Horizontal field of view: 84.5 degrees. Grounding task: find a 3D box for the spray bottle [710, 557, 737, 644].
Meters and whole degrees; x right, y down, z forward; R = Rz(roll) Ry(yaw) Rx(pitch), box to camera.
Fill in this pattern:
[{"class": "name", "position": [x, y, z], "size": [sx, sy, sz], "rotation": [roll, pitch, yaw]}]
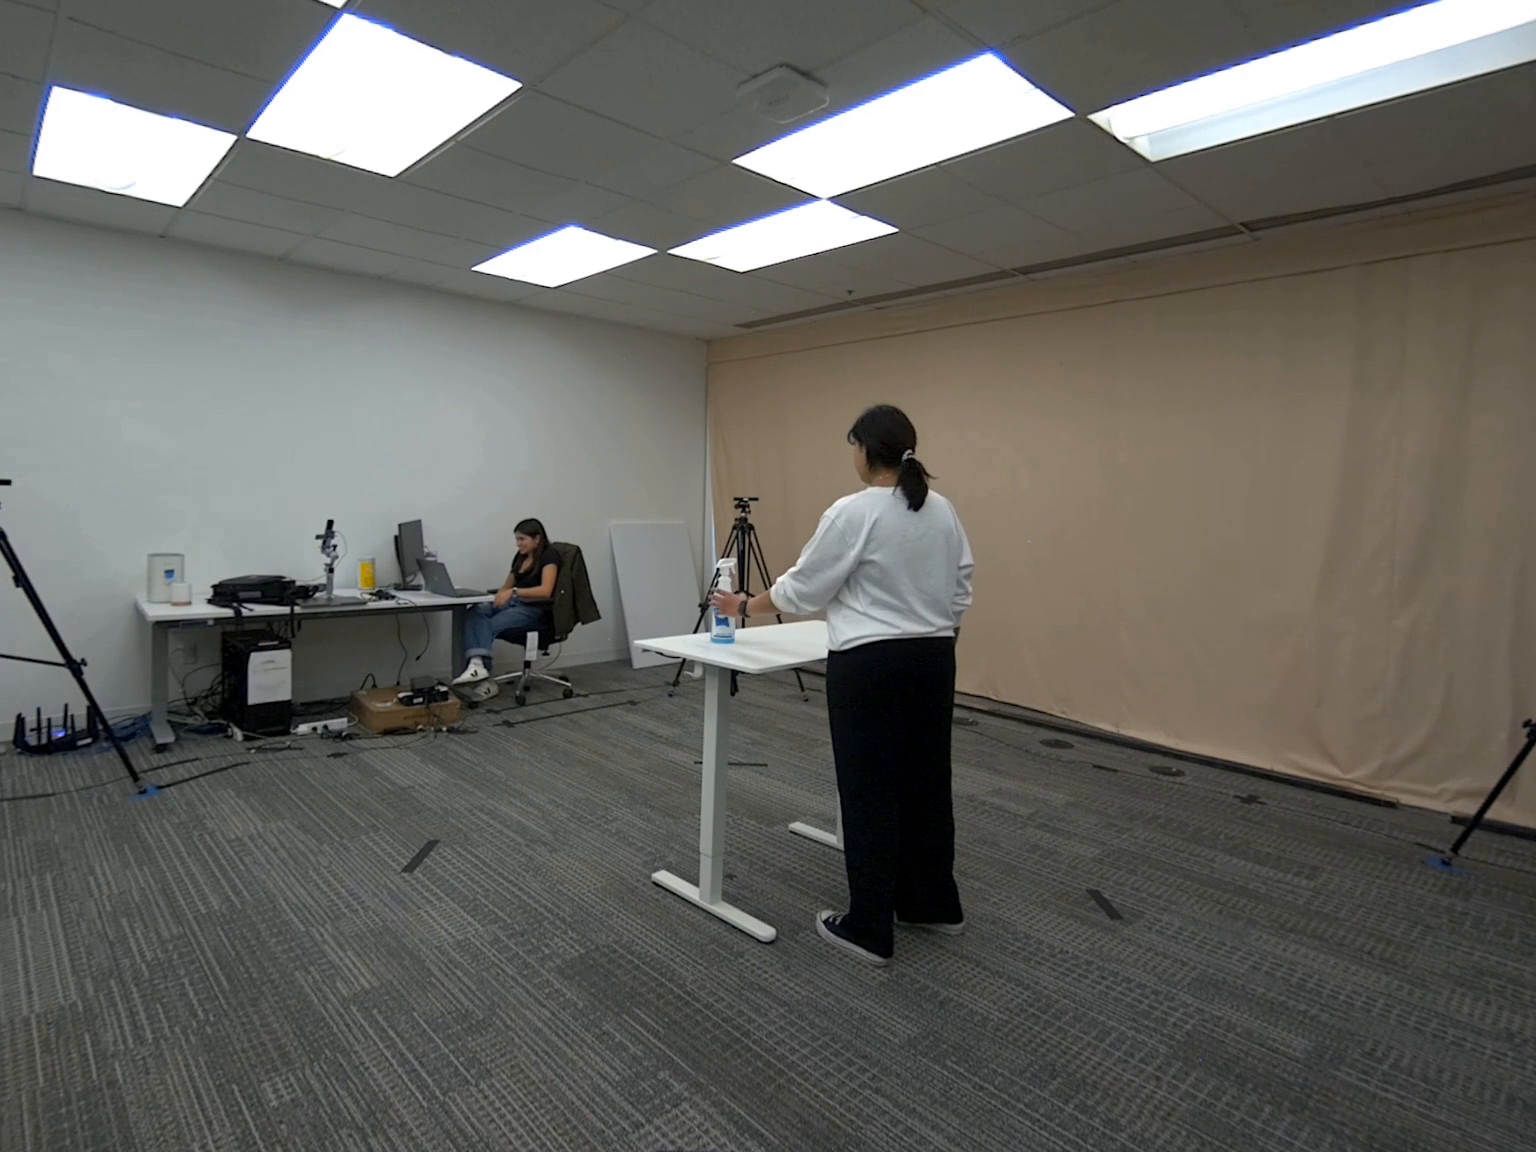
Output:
[{"class": "spray bottle", "position": [-0.158, 0.088, 2.981], "size": [0.089, 0.297, 0.088], "rotation": [3, 0, -19]}]
